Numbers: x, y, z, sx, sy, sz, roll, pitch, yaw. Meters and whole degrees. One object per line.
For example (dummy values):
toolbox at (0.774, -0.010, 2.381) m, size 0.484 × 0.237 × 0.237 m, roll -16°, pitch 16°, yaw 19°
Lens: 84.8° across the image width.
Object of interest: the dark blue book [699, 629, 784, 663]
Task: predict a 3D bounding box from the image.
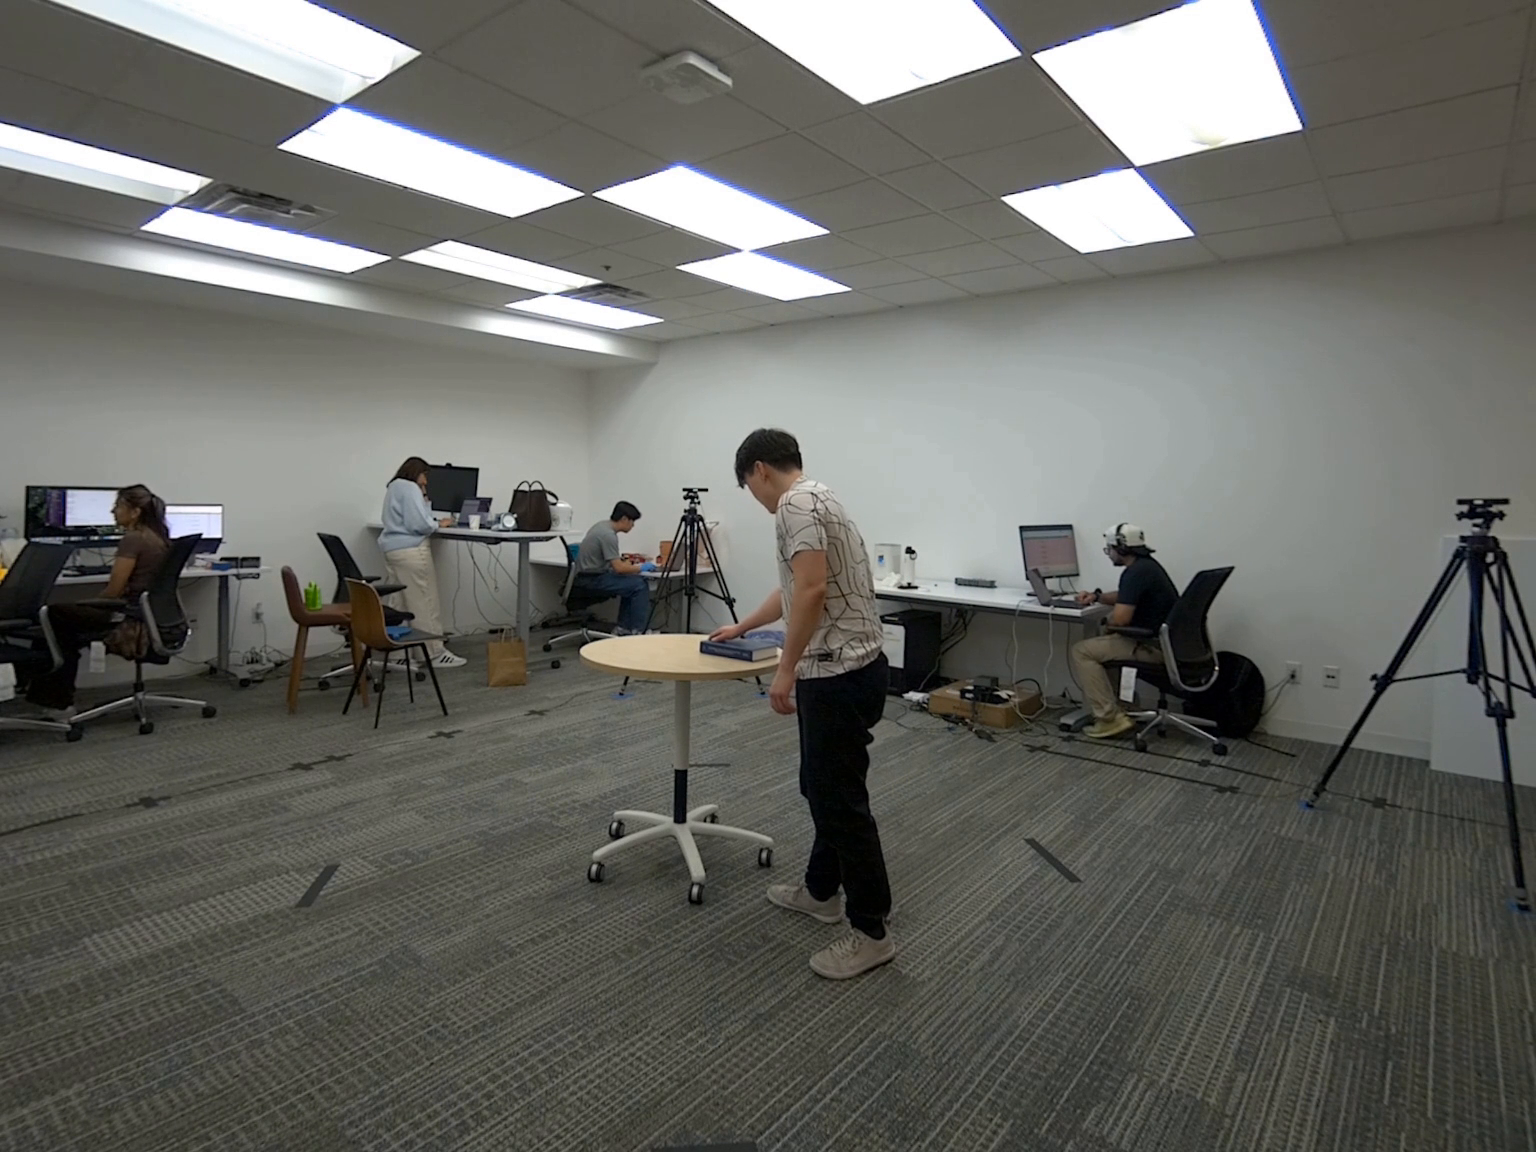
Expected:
dark blue book at (-0.111, 0.268, 3.115) m, size 0.253 × 0.045 × 0.159 m, roll 4°, pitch 6°, yaw 37°
